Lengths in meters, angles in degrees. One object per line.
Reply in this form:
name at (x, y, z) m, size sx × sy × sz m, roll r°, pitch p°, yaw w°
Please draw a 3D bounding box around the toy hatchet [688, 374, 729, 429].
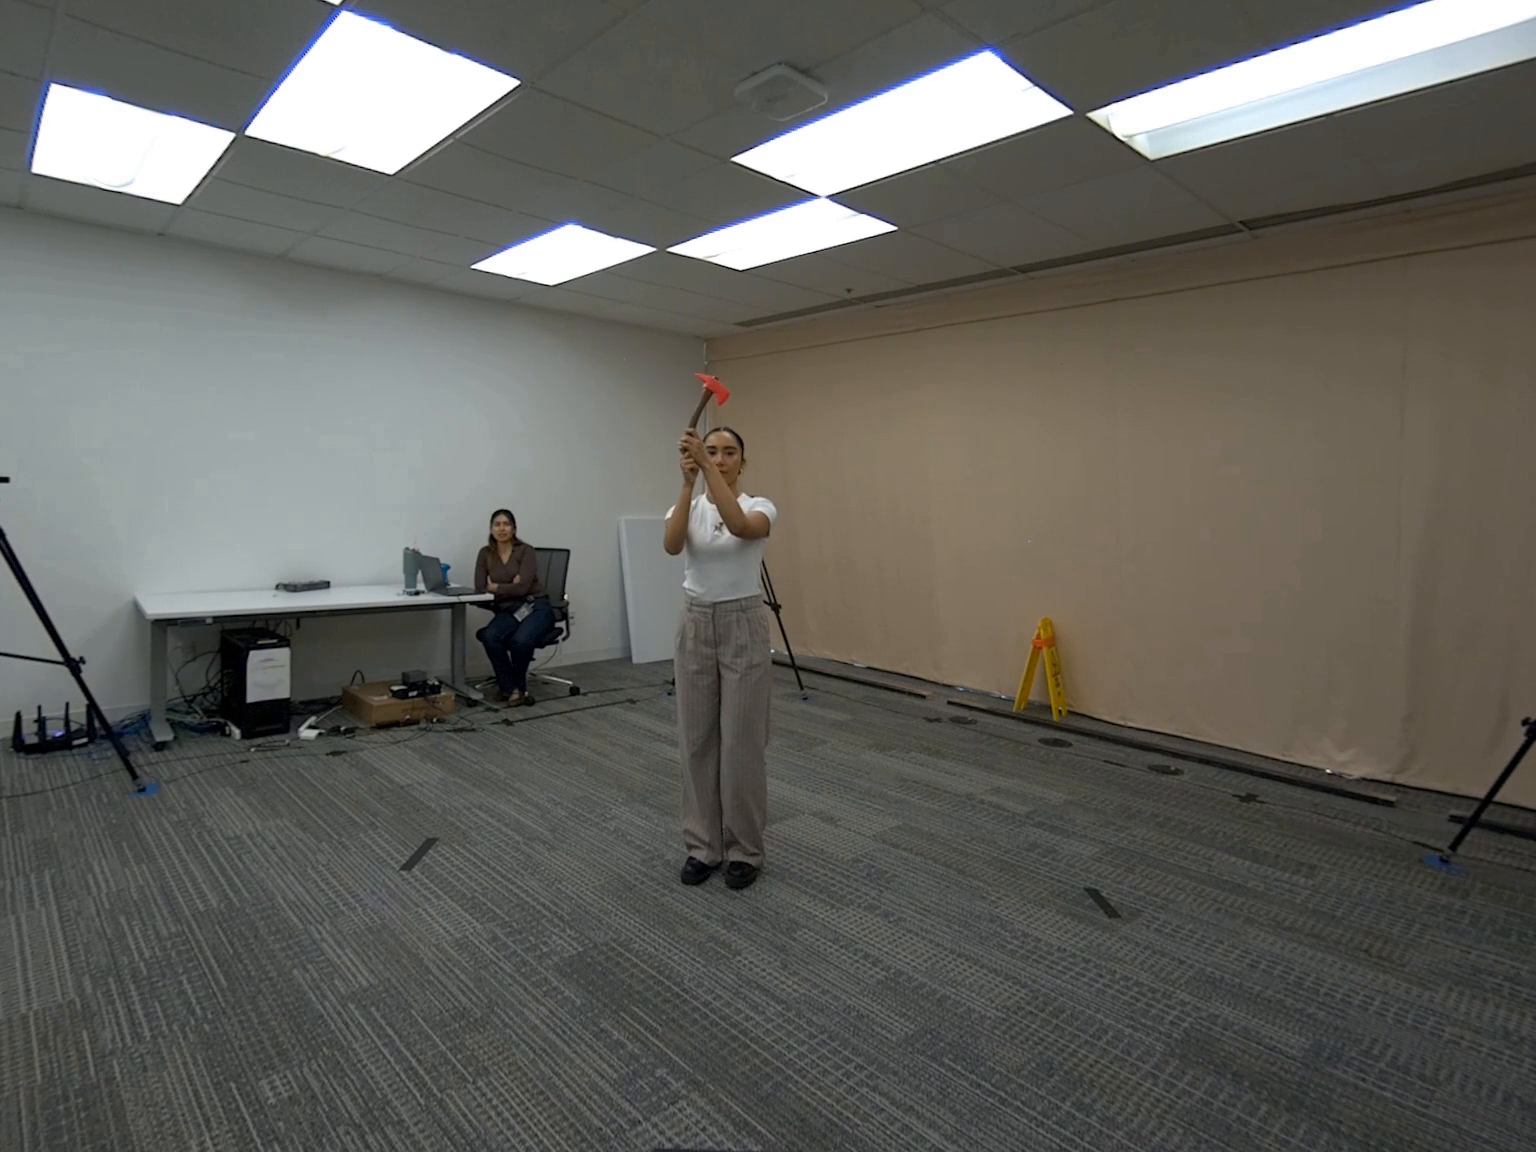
toy hatchet at (-0.205, -0.533, 2.787) m, size 0.128 × 0.270 × 0.030 m, roll 10°, pitch -1°, yaw -21°
